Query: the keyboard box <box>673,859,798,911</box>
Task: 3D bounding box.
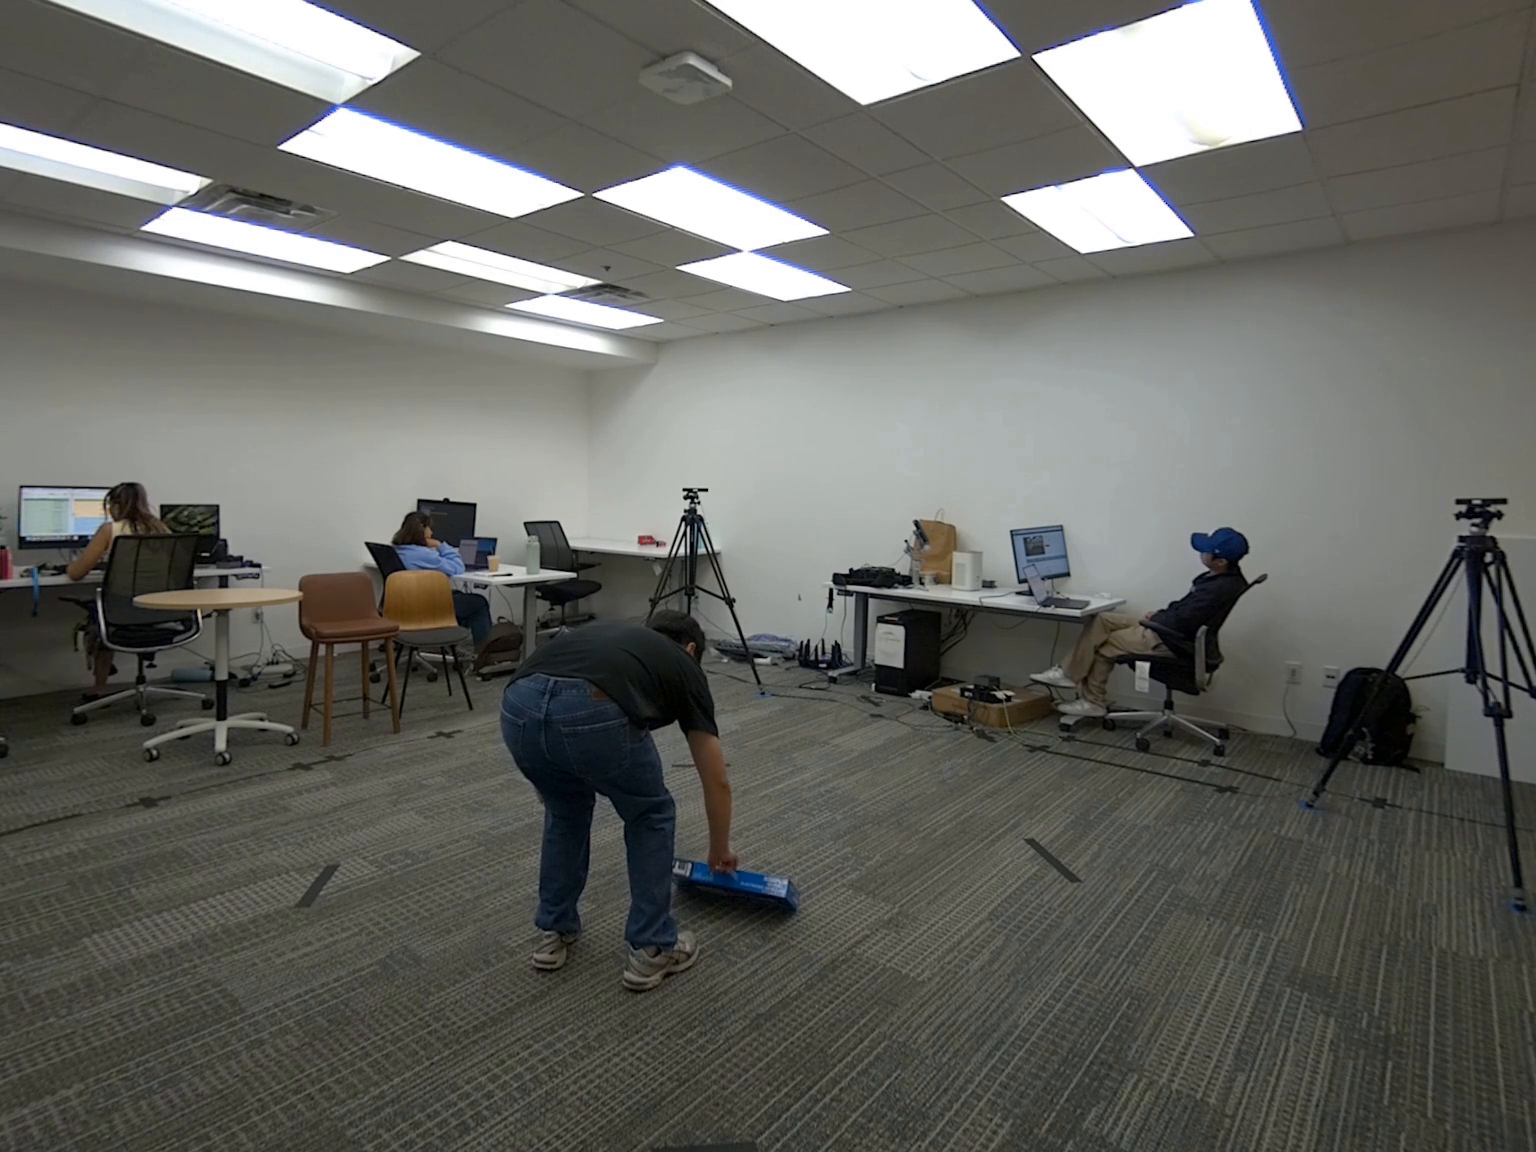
[{"bbox_3d":[-0.132,1.024,2.839,0.447,0.060,0.169,3,-32,21],"label":"keyboard box"}]
